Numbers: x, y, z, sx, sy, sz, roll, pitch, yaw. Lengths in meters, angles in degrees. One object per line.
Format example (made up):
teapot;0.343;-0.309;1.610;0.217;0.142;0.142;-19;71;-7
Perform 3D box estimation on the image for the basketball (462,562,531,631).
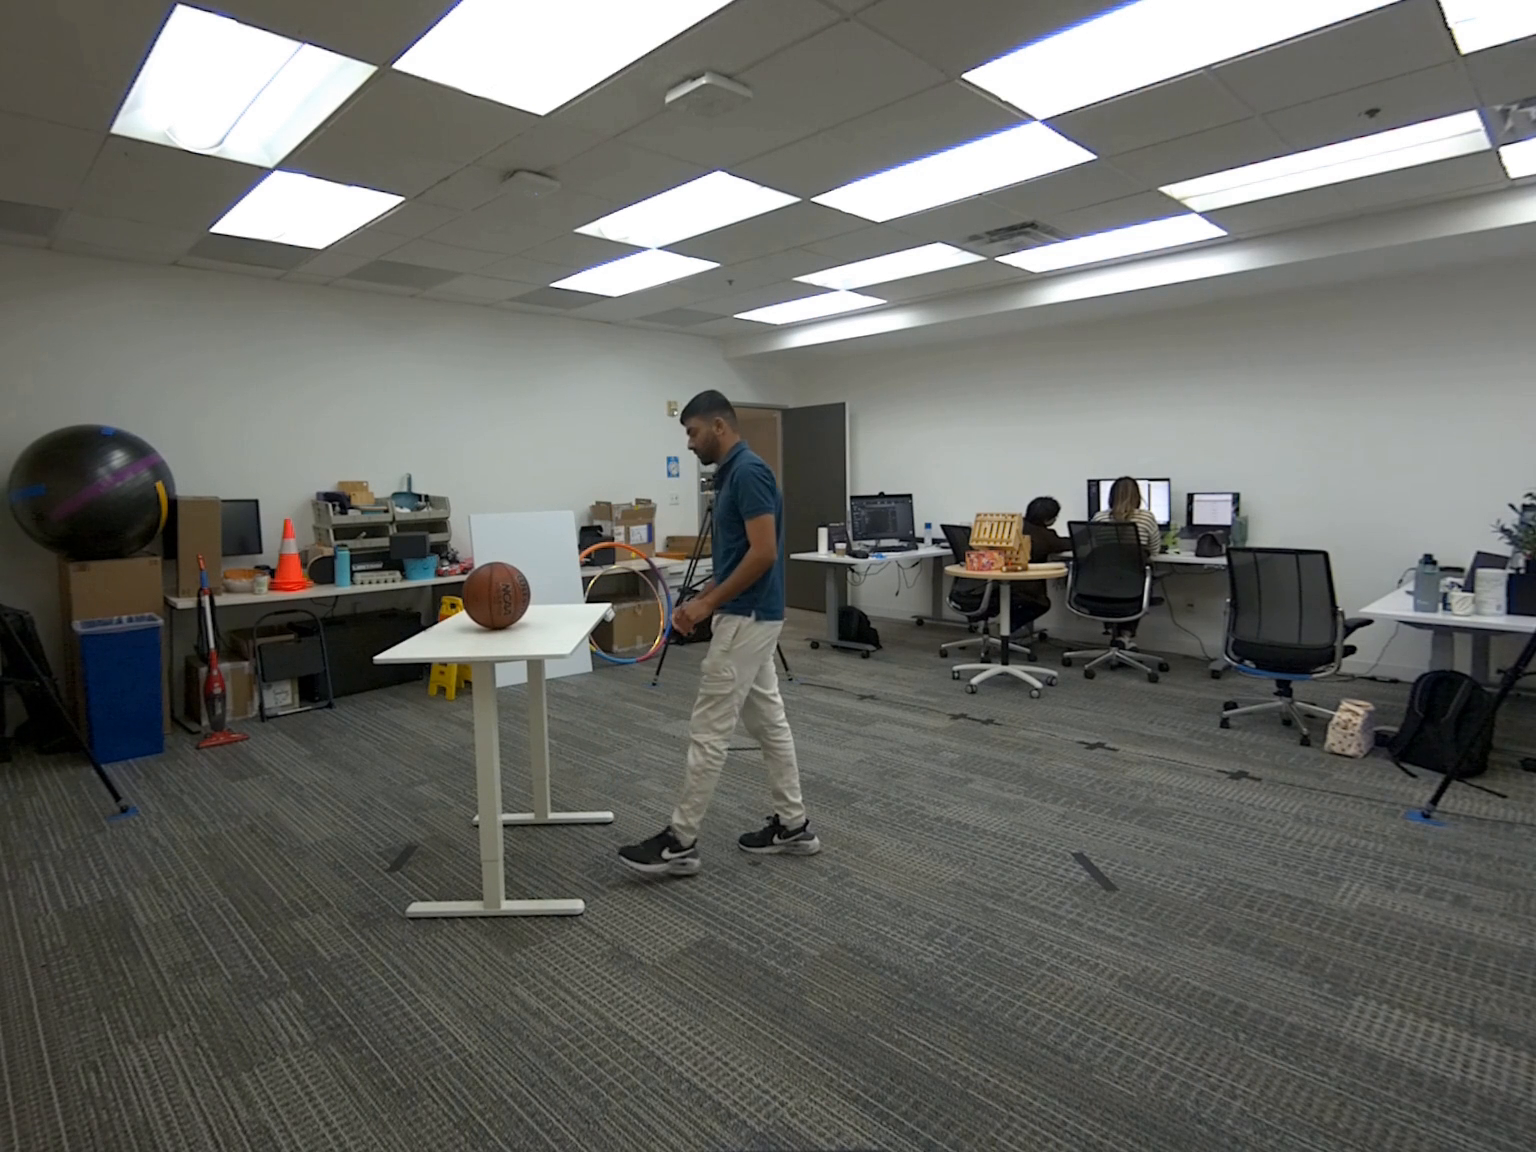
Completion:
basketball;-0.967;0.065;3.056;0.236;0.235;0.237;-1;5;-2
